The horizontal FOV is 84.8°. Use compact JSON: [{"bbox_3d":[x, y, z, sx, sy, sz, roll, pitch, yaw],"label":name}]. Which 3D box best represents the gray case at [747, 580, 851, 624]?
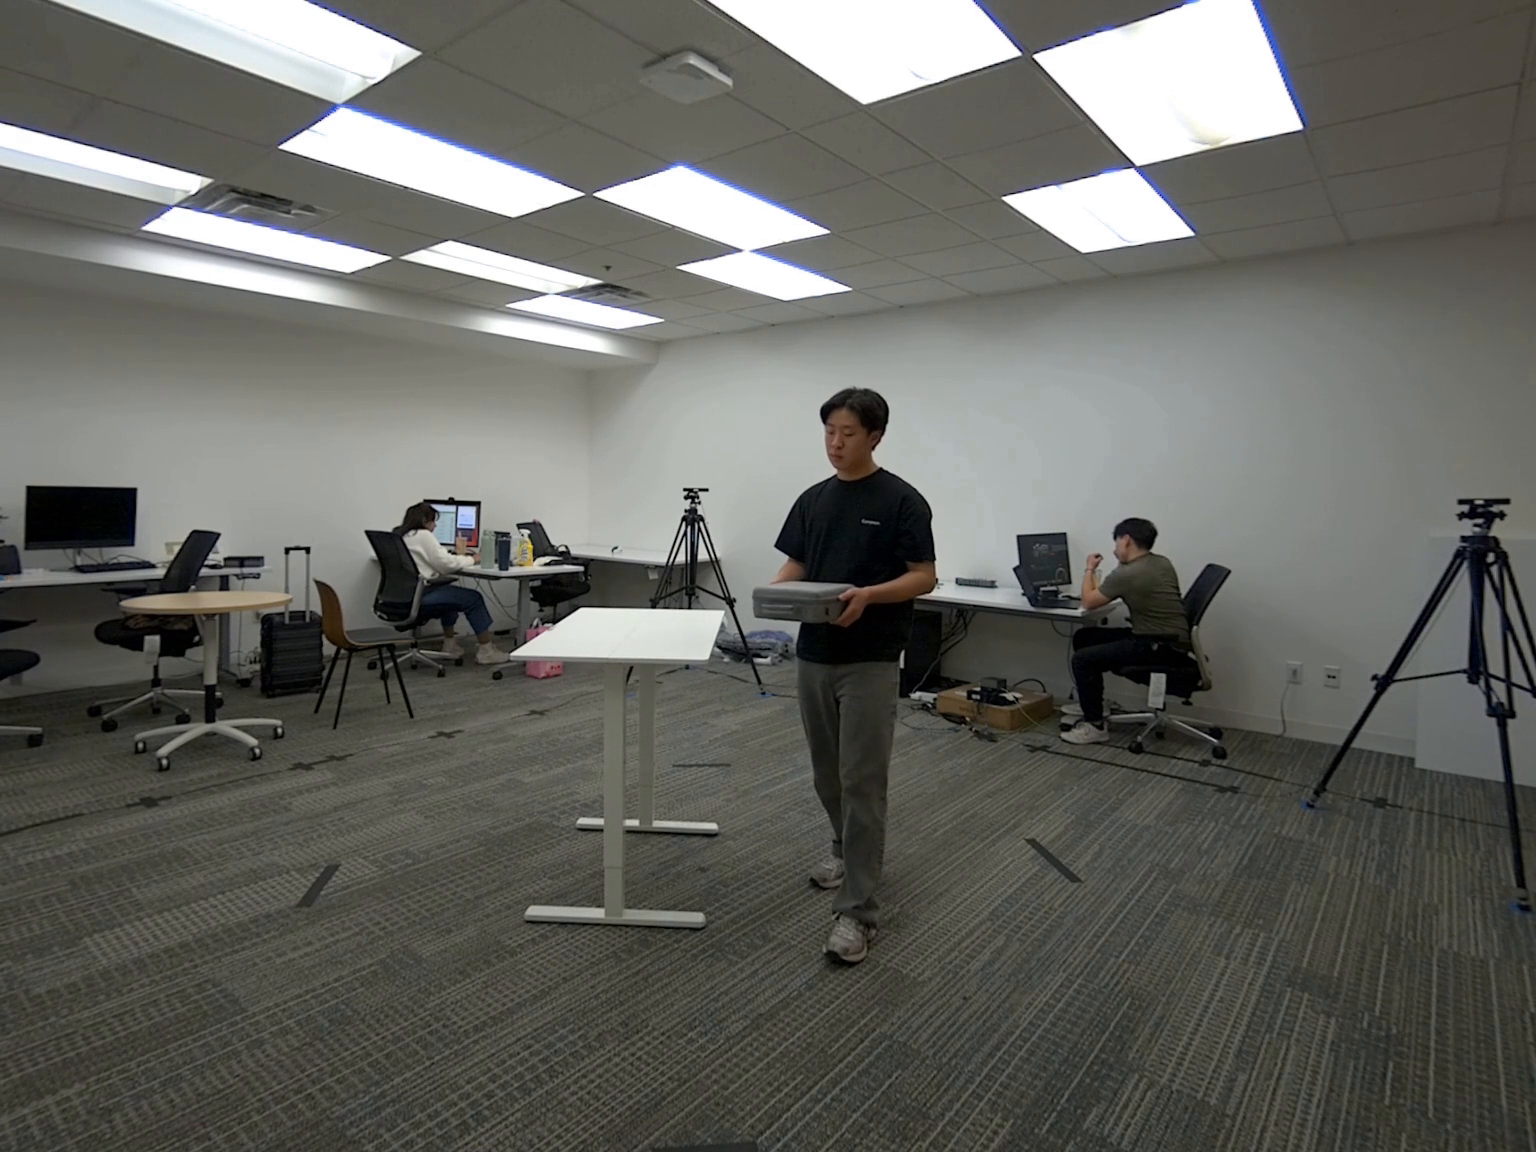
[{"bbox_3d":[0.128,0.074,2.657,0.255,0.103,0.297,-3,5,-41],"label":"gray case"}]
